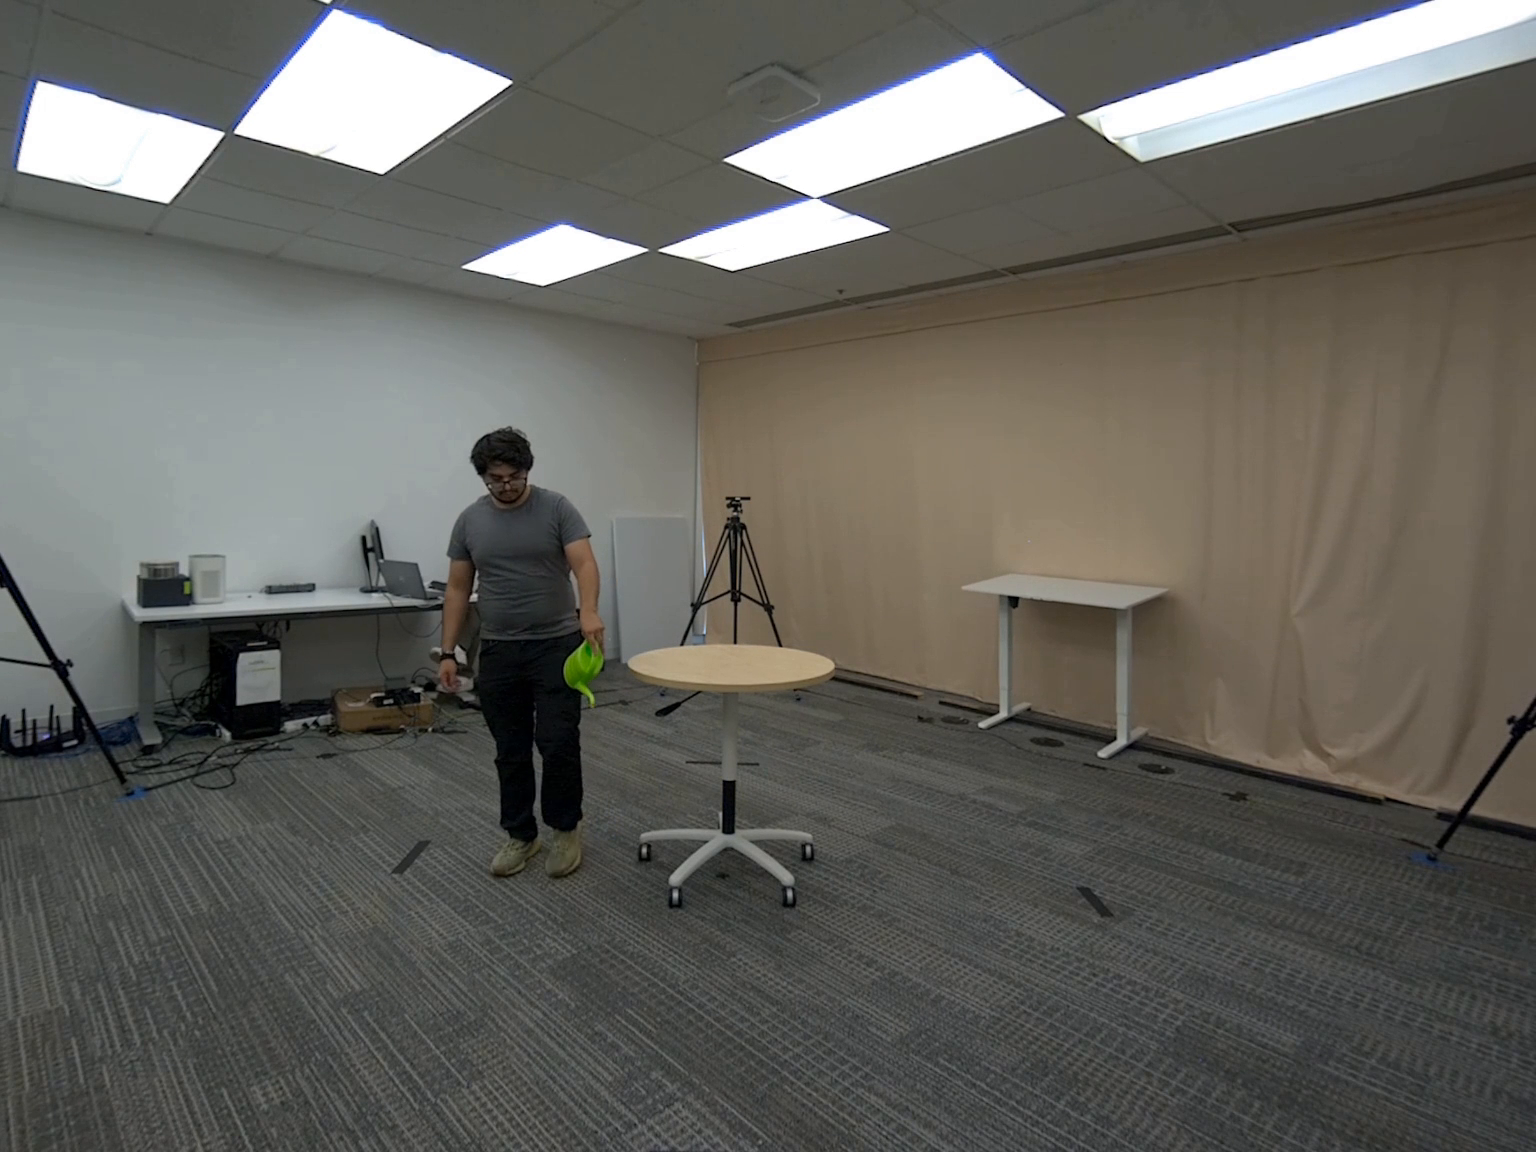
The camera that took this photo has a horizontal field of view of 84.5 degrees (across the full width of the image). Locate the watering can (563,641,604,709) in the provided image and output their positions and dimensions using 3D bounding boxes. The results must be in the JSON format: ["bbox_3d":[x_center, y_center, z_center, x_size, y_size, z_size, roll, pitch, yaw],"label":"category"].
[{"bbox_3d":[-0.626,0.333,2.834,0.096,0.283,0.177,25,-39,-20],"label":"watering can"}]
